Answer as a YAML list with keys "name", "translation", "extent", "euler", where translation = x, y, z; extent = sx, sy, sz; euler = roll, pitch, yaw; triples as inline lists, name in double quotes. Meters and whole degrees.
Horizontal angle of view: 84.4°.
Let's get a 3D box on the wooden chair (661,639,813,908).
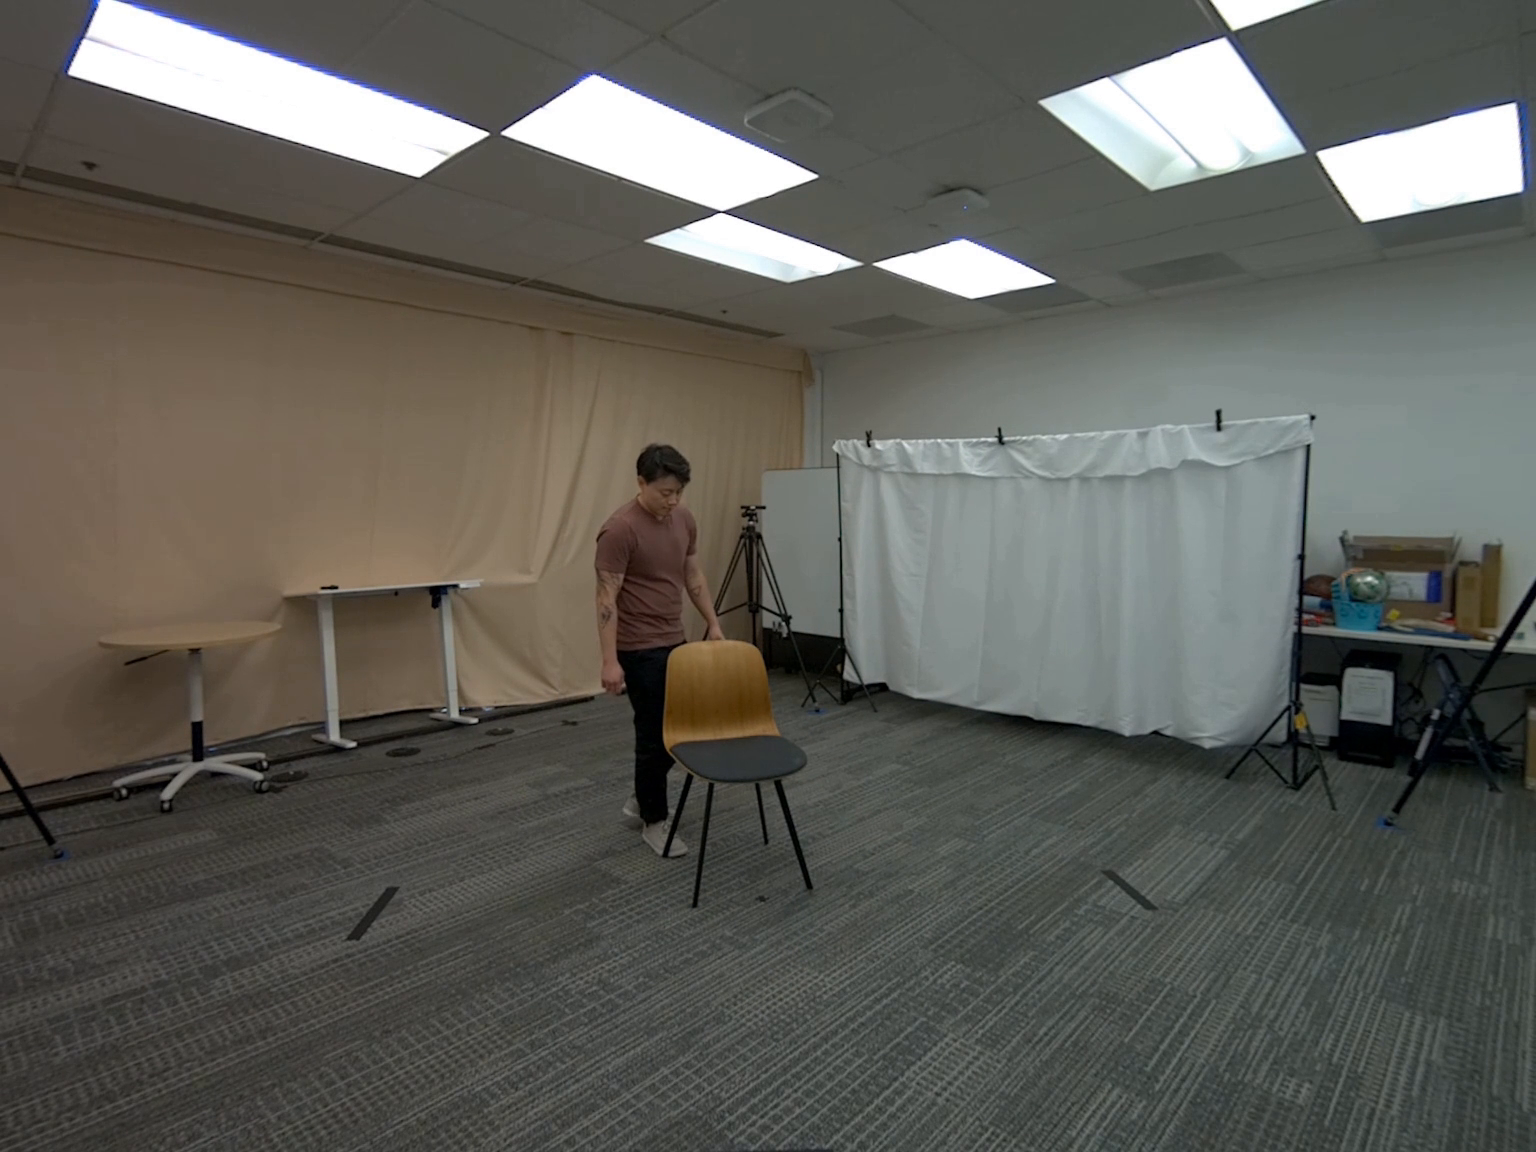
- name: "wooden chair"
  translation: [-0.124, 0.704, 3.159]
  extent: [0.469, 0.878, 0.533]
  euler: [-1, -1, -19]
